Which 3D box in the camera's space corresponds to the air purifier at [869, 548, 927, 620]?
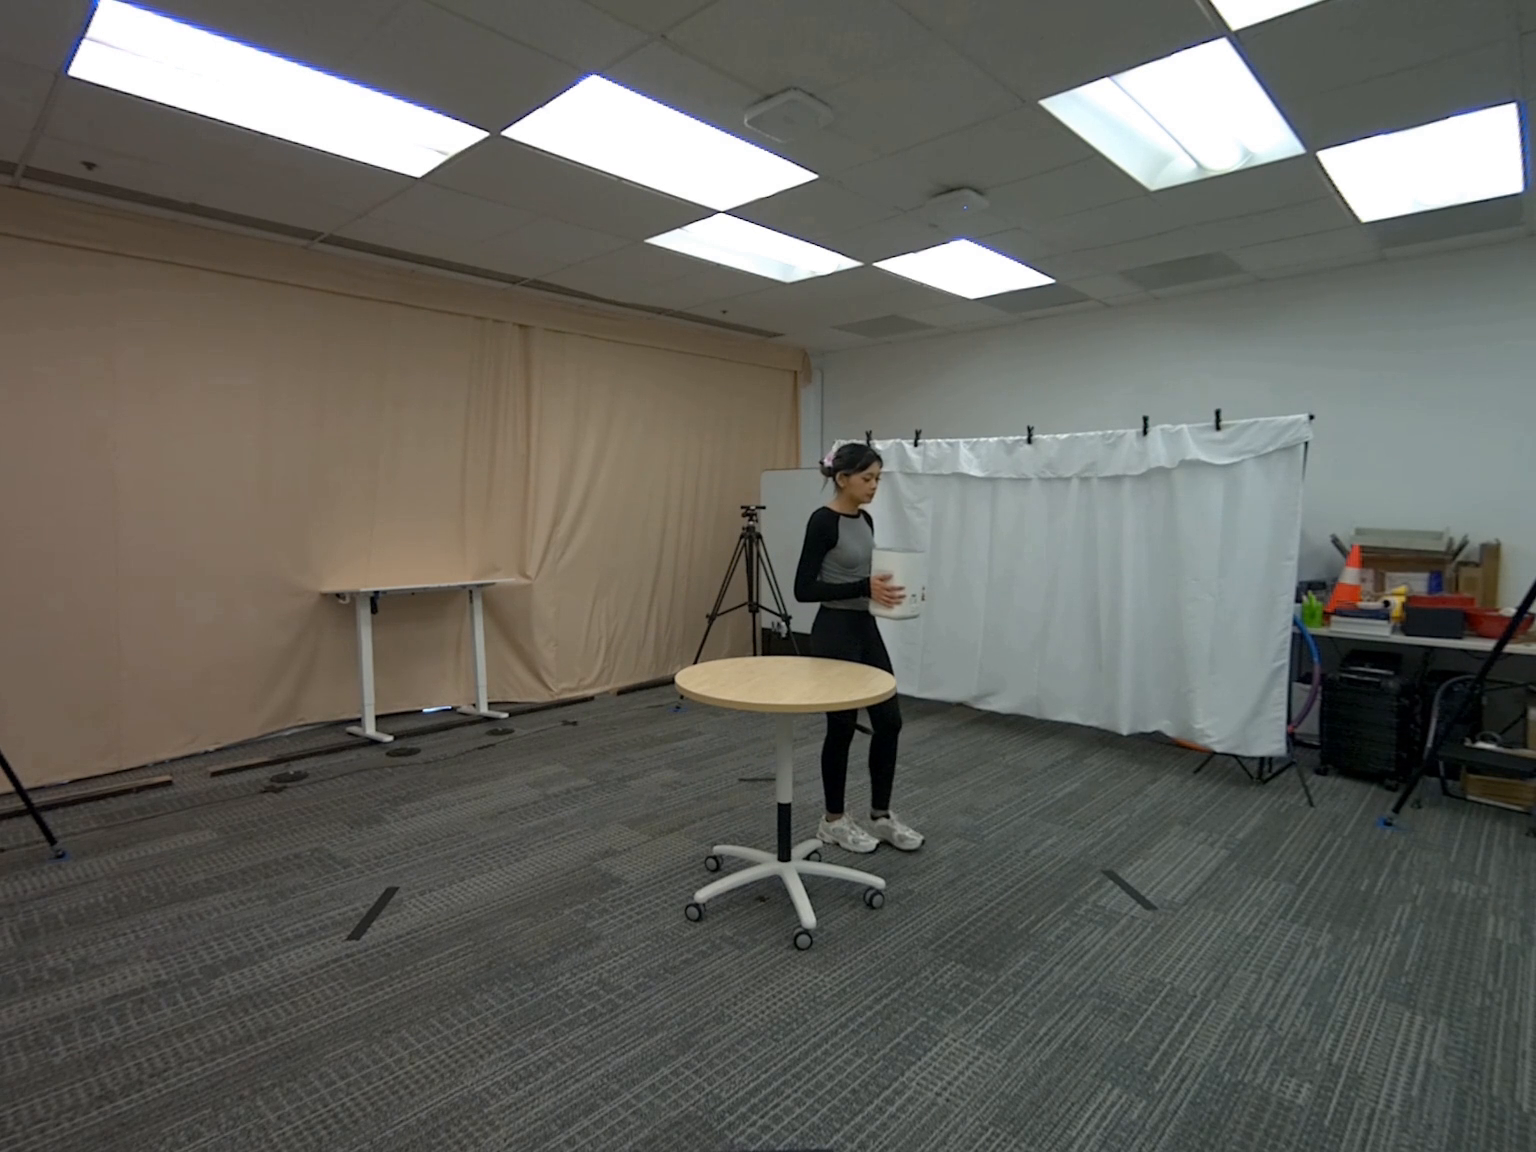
[{"bbox_3d":[0.500,0.032,3.241,0.166,0.264,0.177,-2,7,-39],"label":"air purifier"}]
